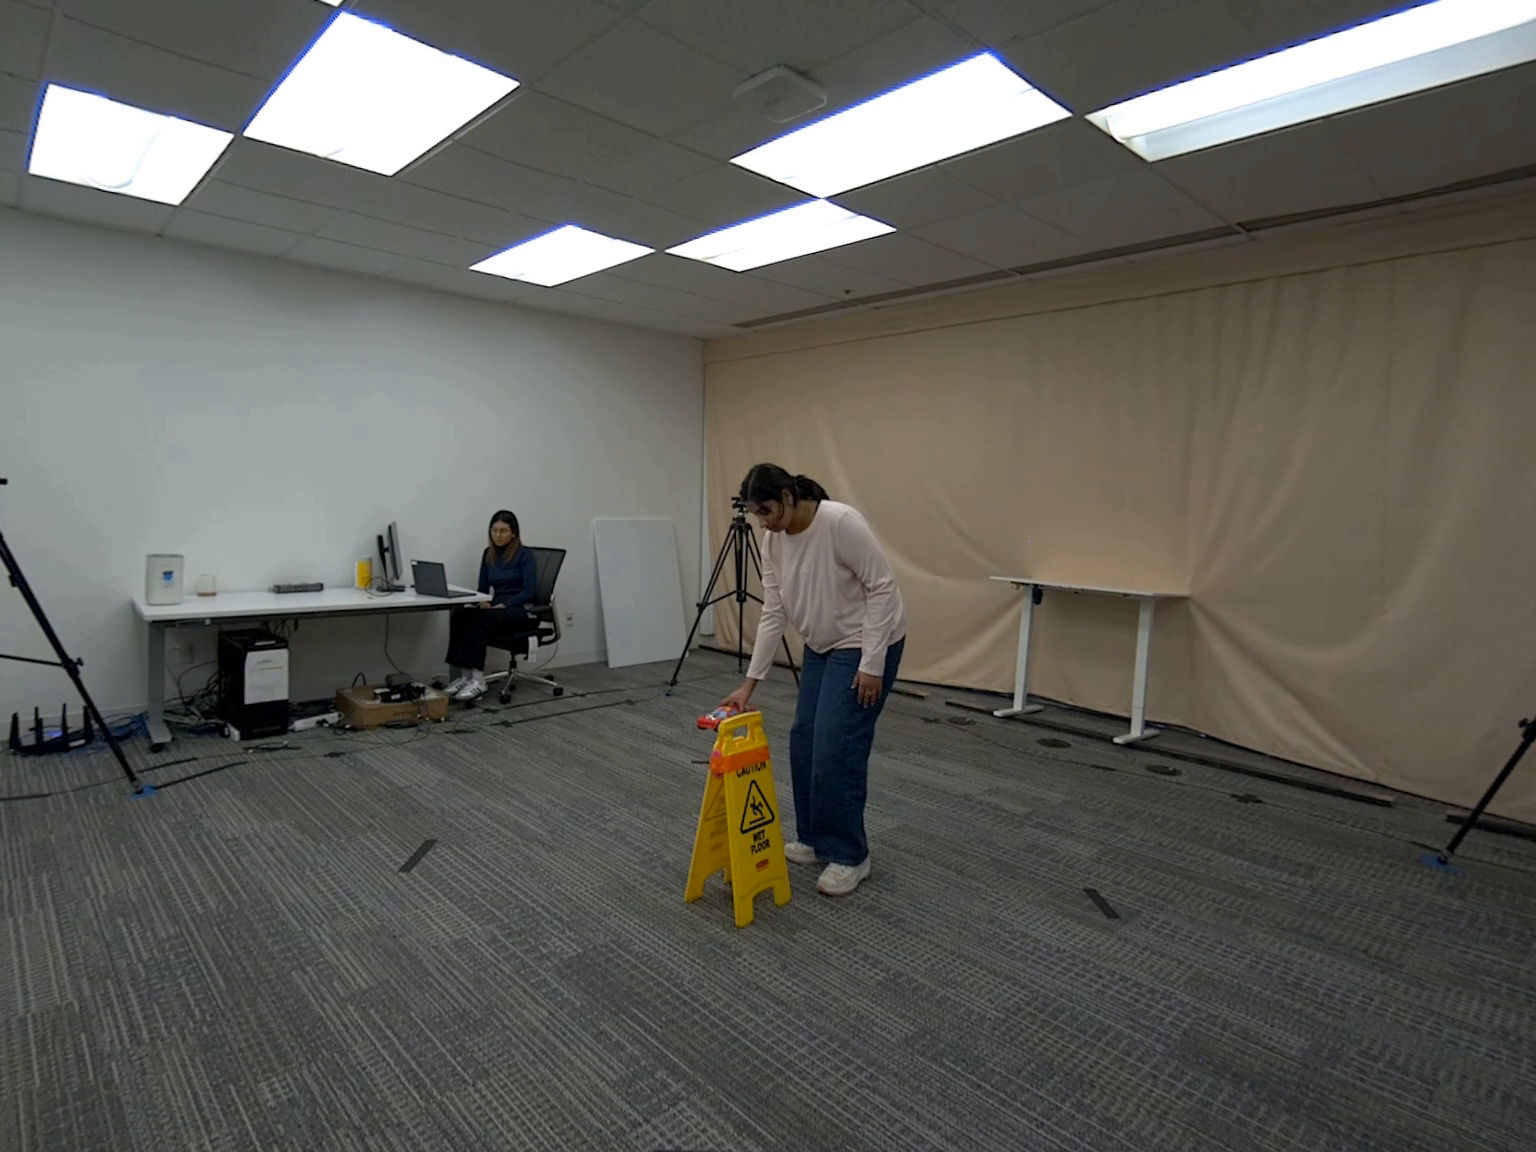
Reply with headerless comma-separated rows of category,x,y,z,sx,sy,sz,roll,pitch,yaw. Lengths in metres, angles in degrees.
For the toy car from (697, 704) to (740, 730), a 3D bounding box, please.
toy car,-0.158,0.542,3.168,0.133,0.083,0.250,-3,11,43
